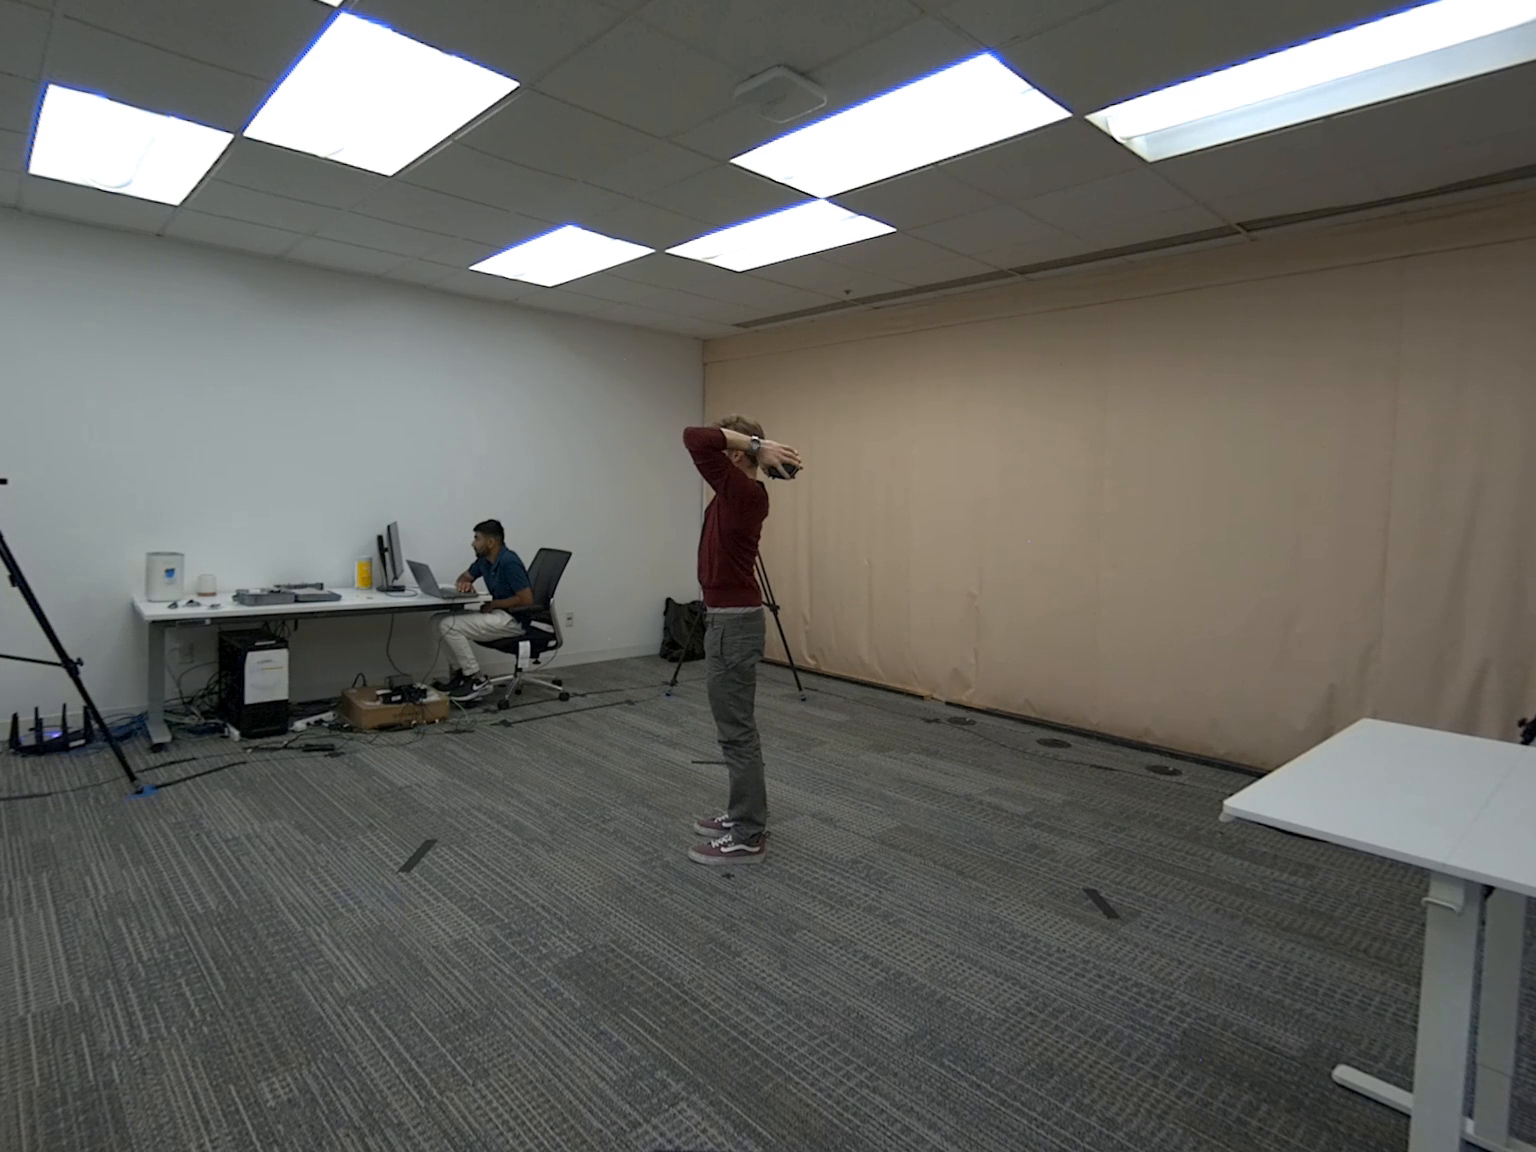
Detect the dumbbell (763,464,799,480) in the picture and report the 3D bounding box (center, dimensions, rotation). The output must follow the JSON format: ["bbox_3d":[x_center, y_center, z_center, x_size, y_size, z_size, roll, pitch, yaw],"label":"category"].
[{"bbox_3d":[0.044,-0.468,3.265,0.109,0.123,0.292,46,6,1],"label":"dumbbell"}]
